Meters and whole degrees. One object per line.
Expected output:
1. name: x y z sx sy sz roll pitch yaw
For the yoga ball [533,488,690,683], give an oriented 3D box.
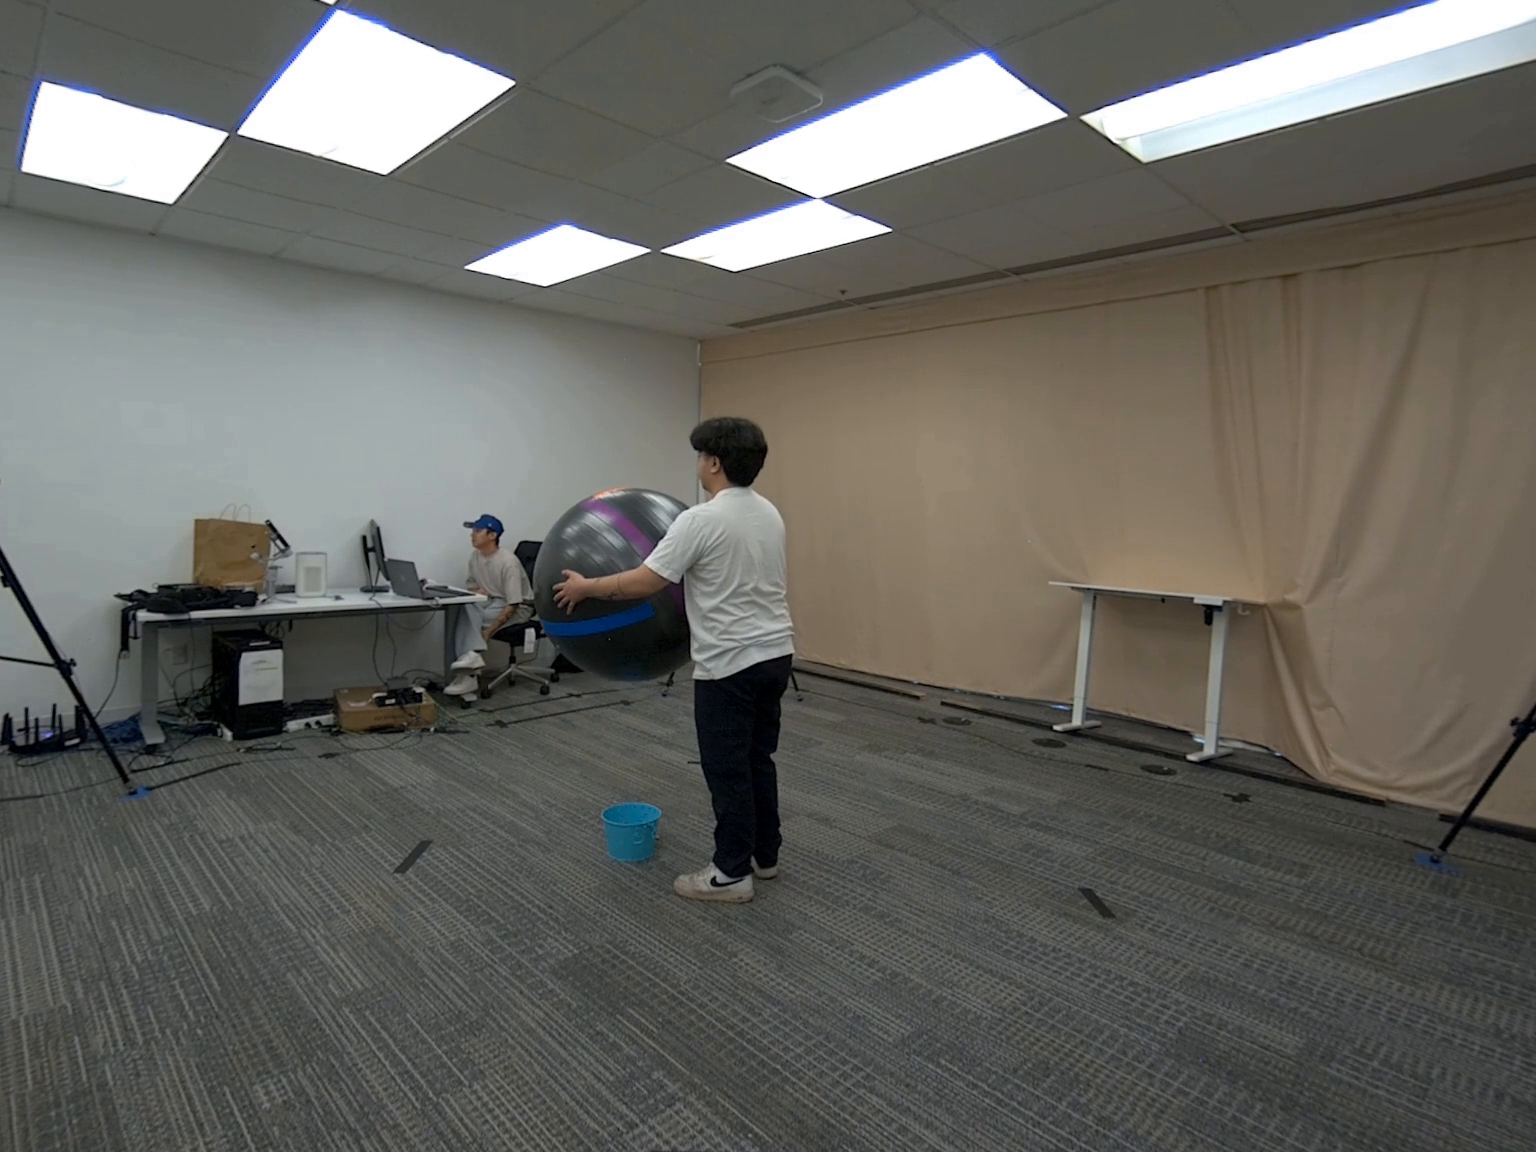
1. yoga ball: -0.550 0.035 3.337 0.757 0.756 0.760 1 4 -1
